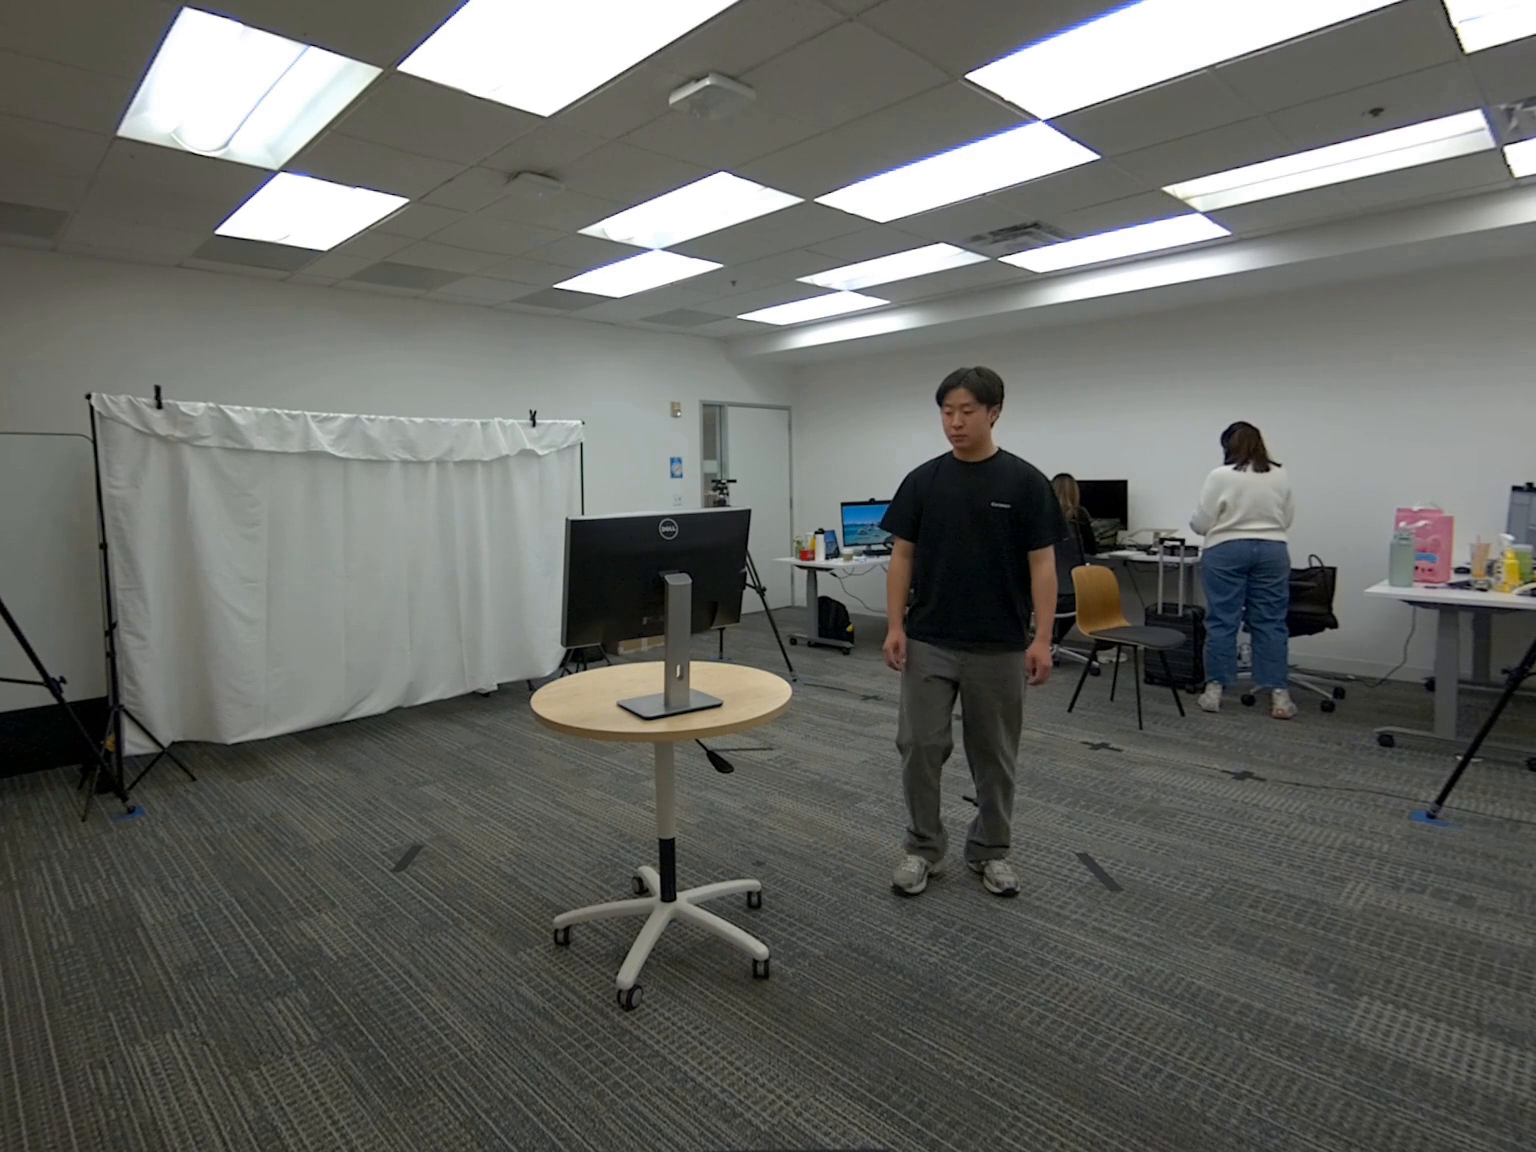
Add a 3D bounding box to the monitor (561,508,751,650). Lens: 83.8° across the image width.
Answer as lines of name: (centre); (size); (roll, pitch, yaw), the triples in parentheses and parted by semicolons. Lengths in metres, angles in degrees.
monitor: (-0.275, 0.103, 2.359); (0.549, 0.564, 0.228); (-4, 3, -29)
